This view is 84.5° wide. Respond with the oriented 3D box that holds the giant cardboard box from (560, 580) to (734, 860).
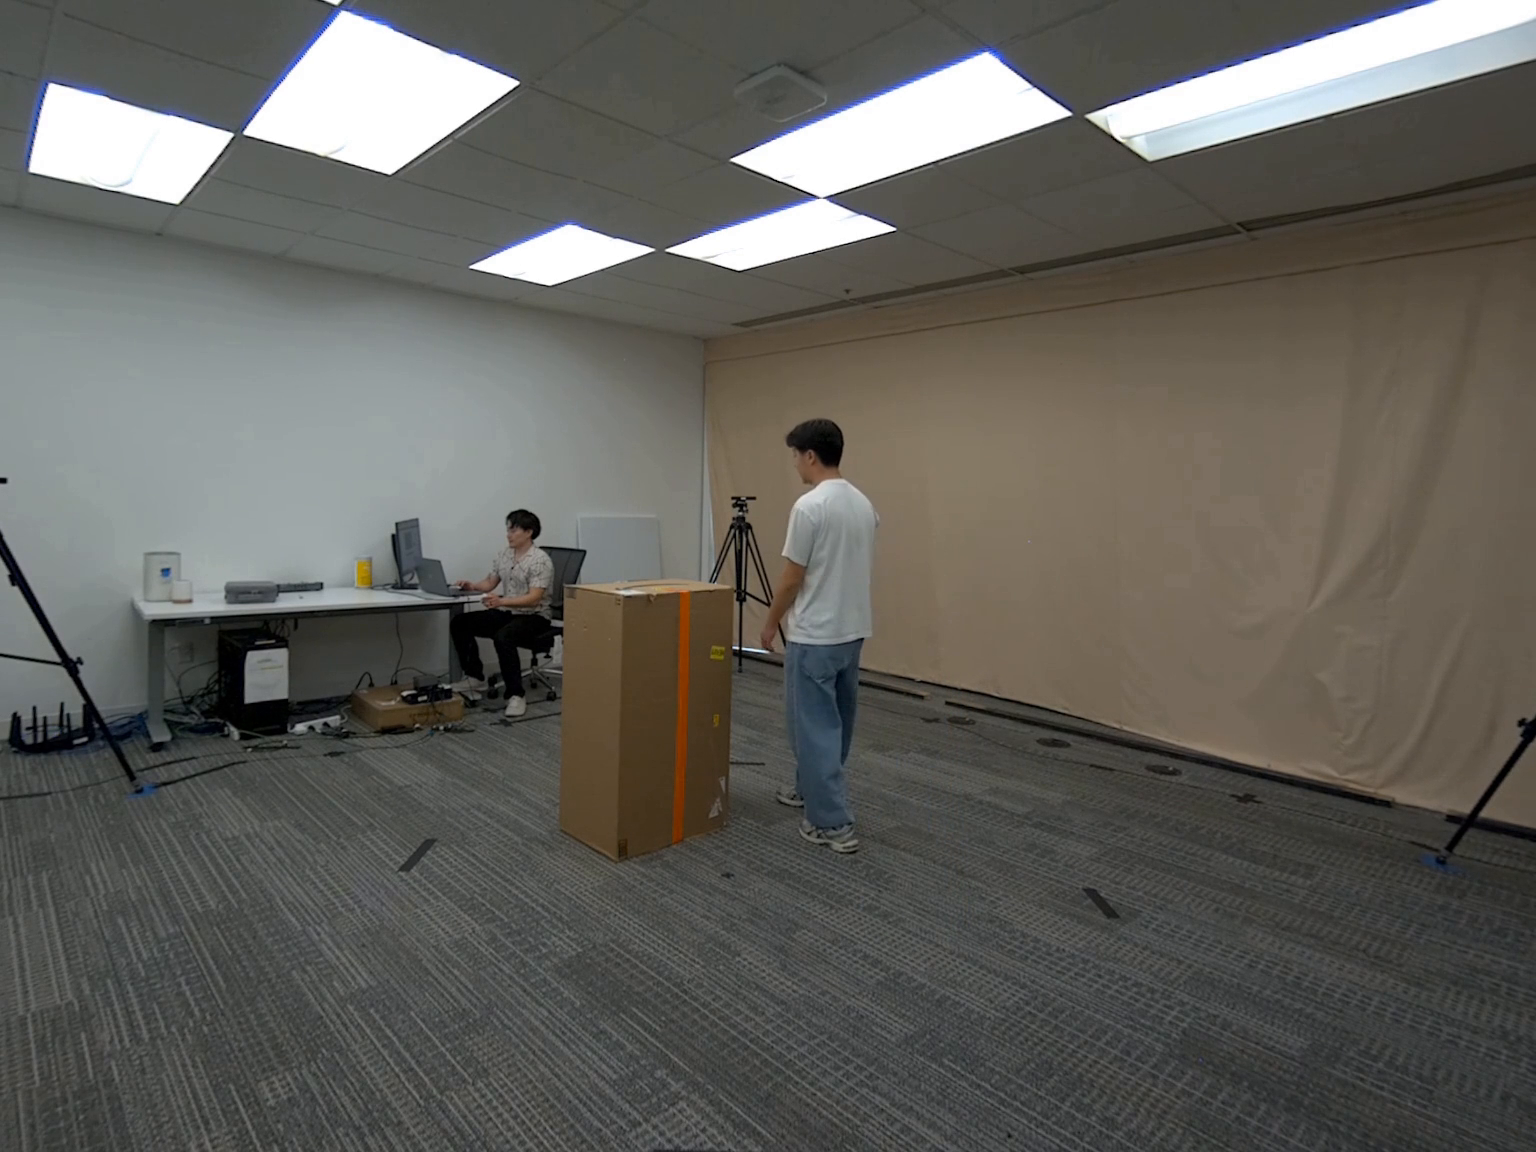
[{"bbox_3d":[-0.511,0.555,3.508,0.564,1.023,0.437,-2,5,-45],"label":"giant cardboard box"}]
